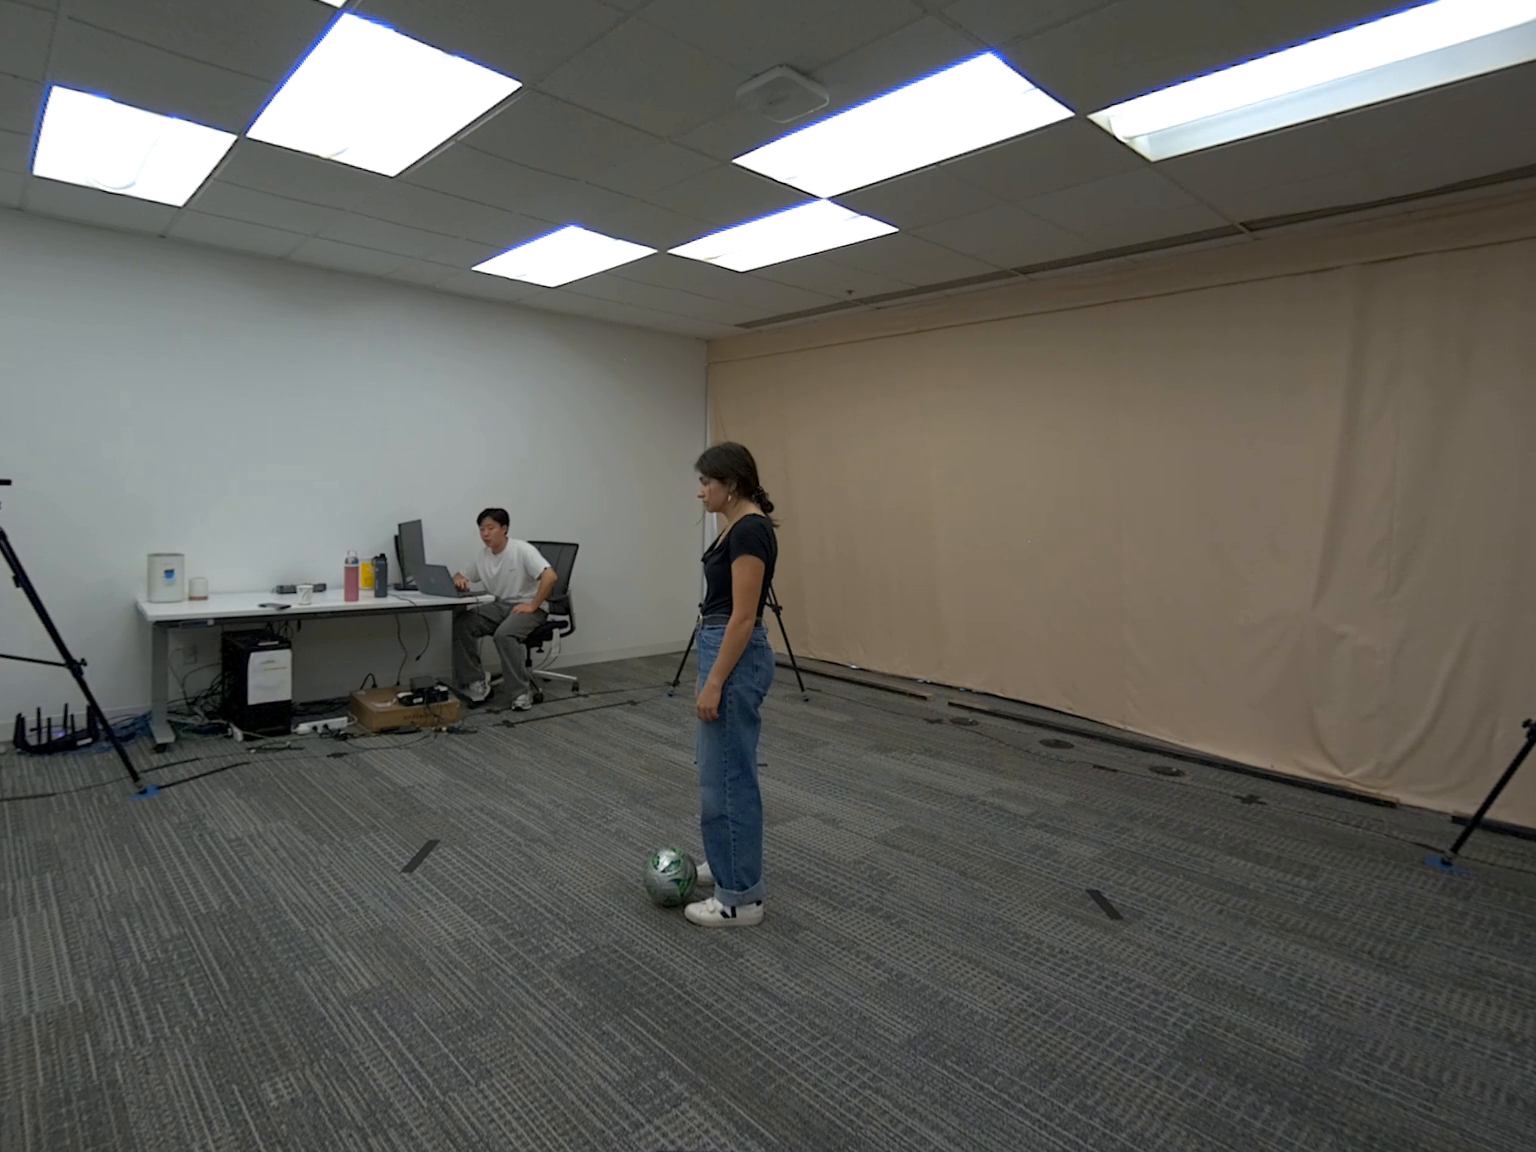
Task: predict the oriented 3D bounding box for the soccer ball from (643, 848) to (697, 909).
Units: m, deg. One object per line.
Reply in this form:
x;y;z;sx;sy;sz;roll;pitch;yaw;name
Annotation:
-0.340;1.030;2.889;0.187;0.187;0.188;1;4;-1;soccer ball
